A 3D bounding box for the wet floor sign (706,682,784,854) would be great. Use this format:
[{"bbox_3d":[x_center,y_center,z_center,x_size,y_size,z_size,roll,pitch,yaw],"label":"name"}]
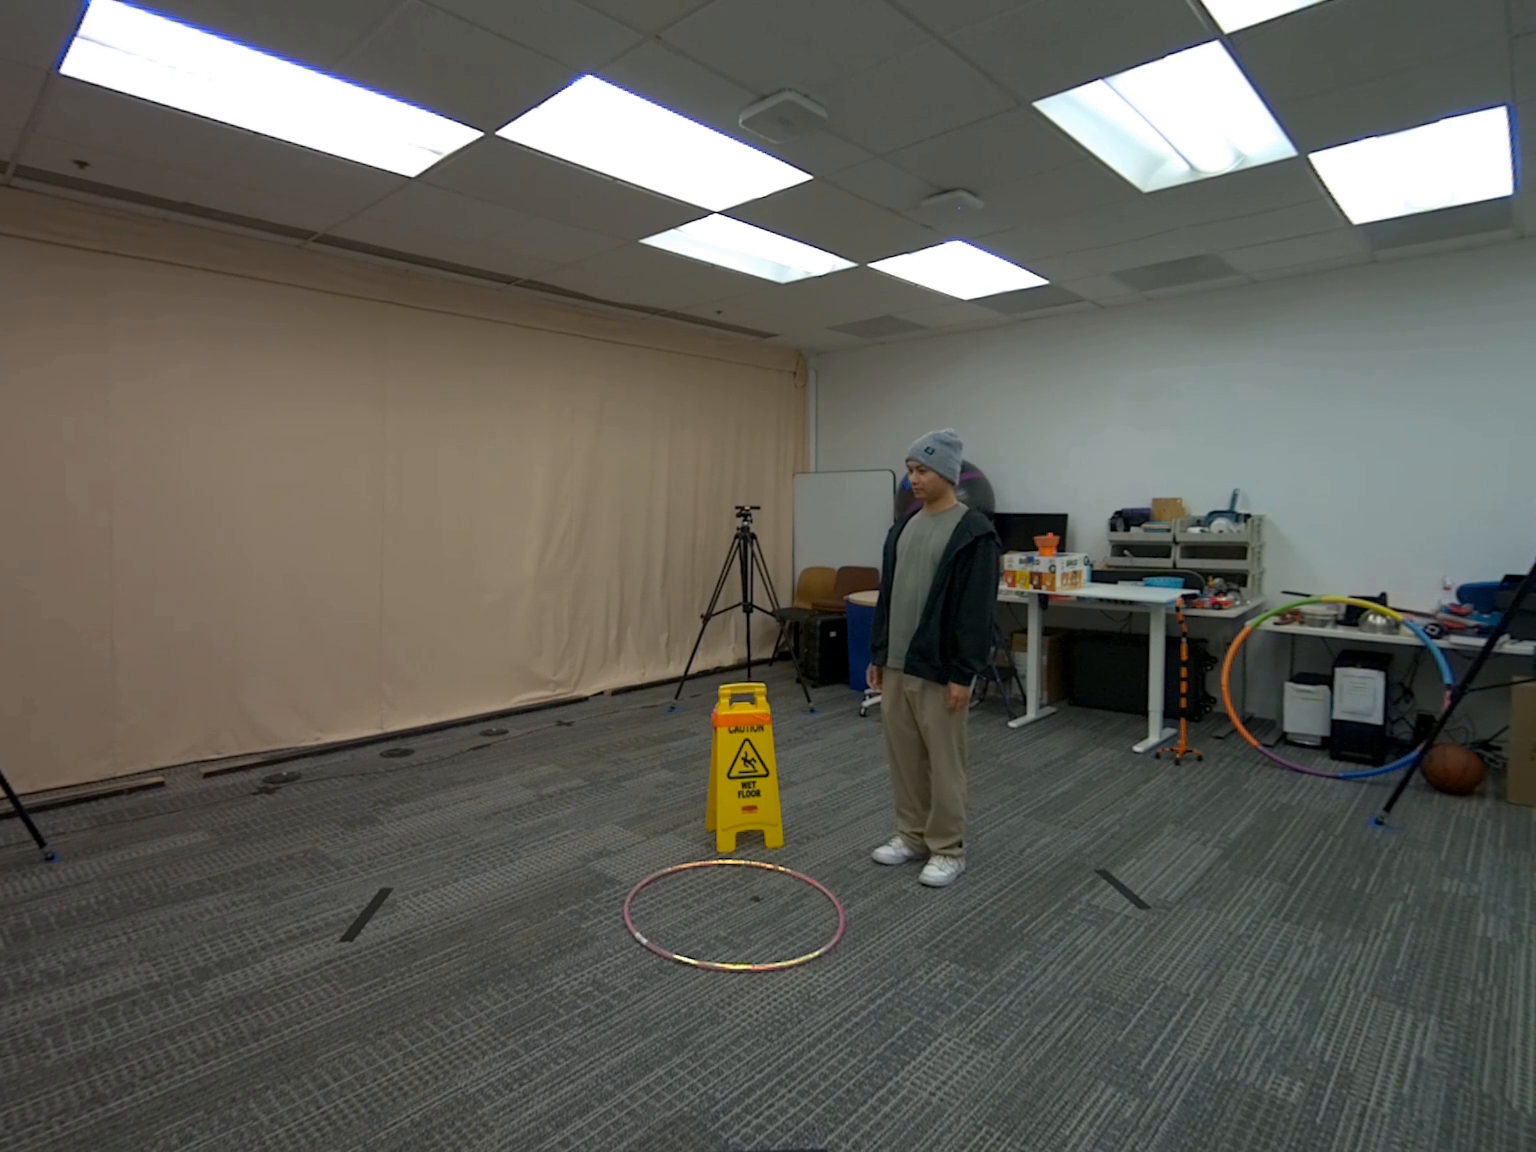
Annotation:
[{"bbox_3d":[-0.095,0.775,3.516,0.279,0.645,0.294,-1,3,-12],"label":"wet floor sign"}]
